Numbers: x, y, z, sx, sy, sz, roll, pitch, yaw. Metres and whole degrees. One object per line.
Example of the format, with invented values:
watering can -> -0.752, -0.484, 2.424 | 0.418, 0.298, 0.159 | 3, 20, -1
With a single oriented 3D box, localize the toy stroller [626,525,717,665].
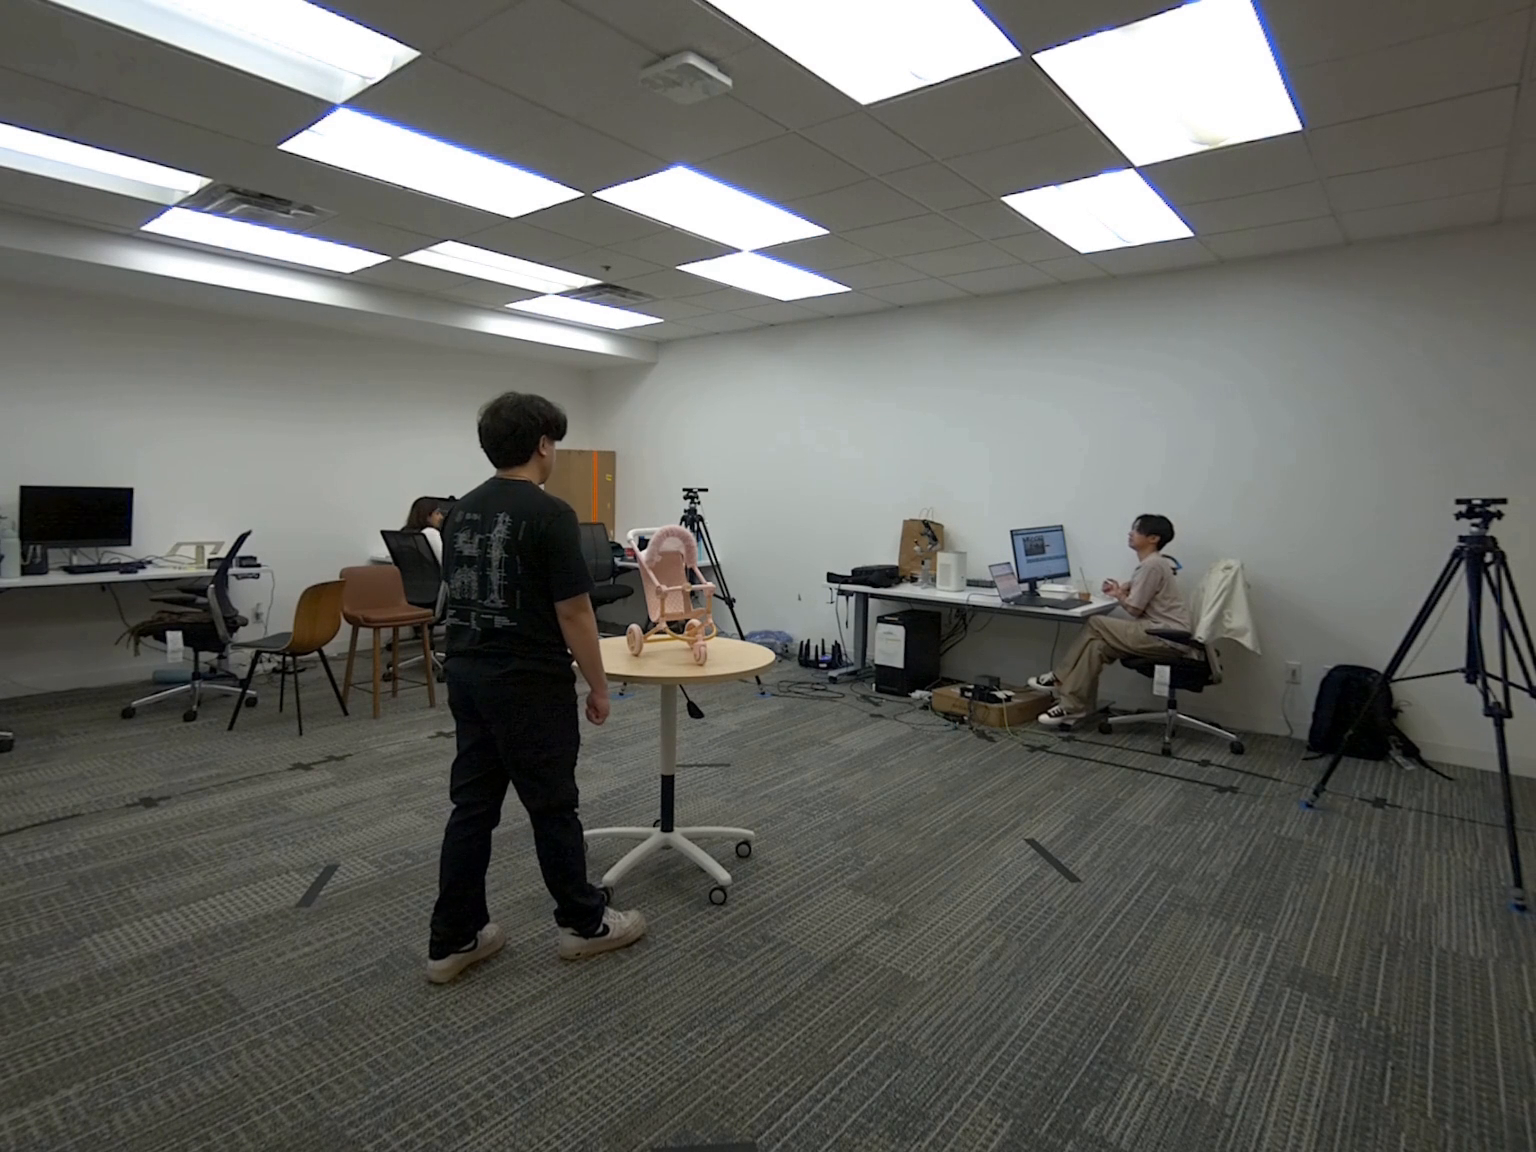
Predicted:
toy stroller -> -0.343, 0.056, 3.026 | 0.274, 0.540, 0.347 | -2, -10, -29
